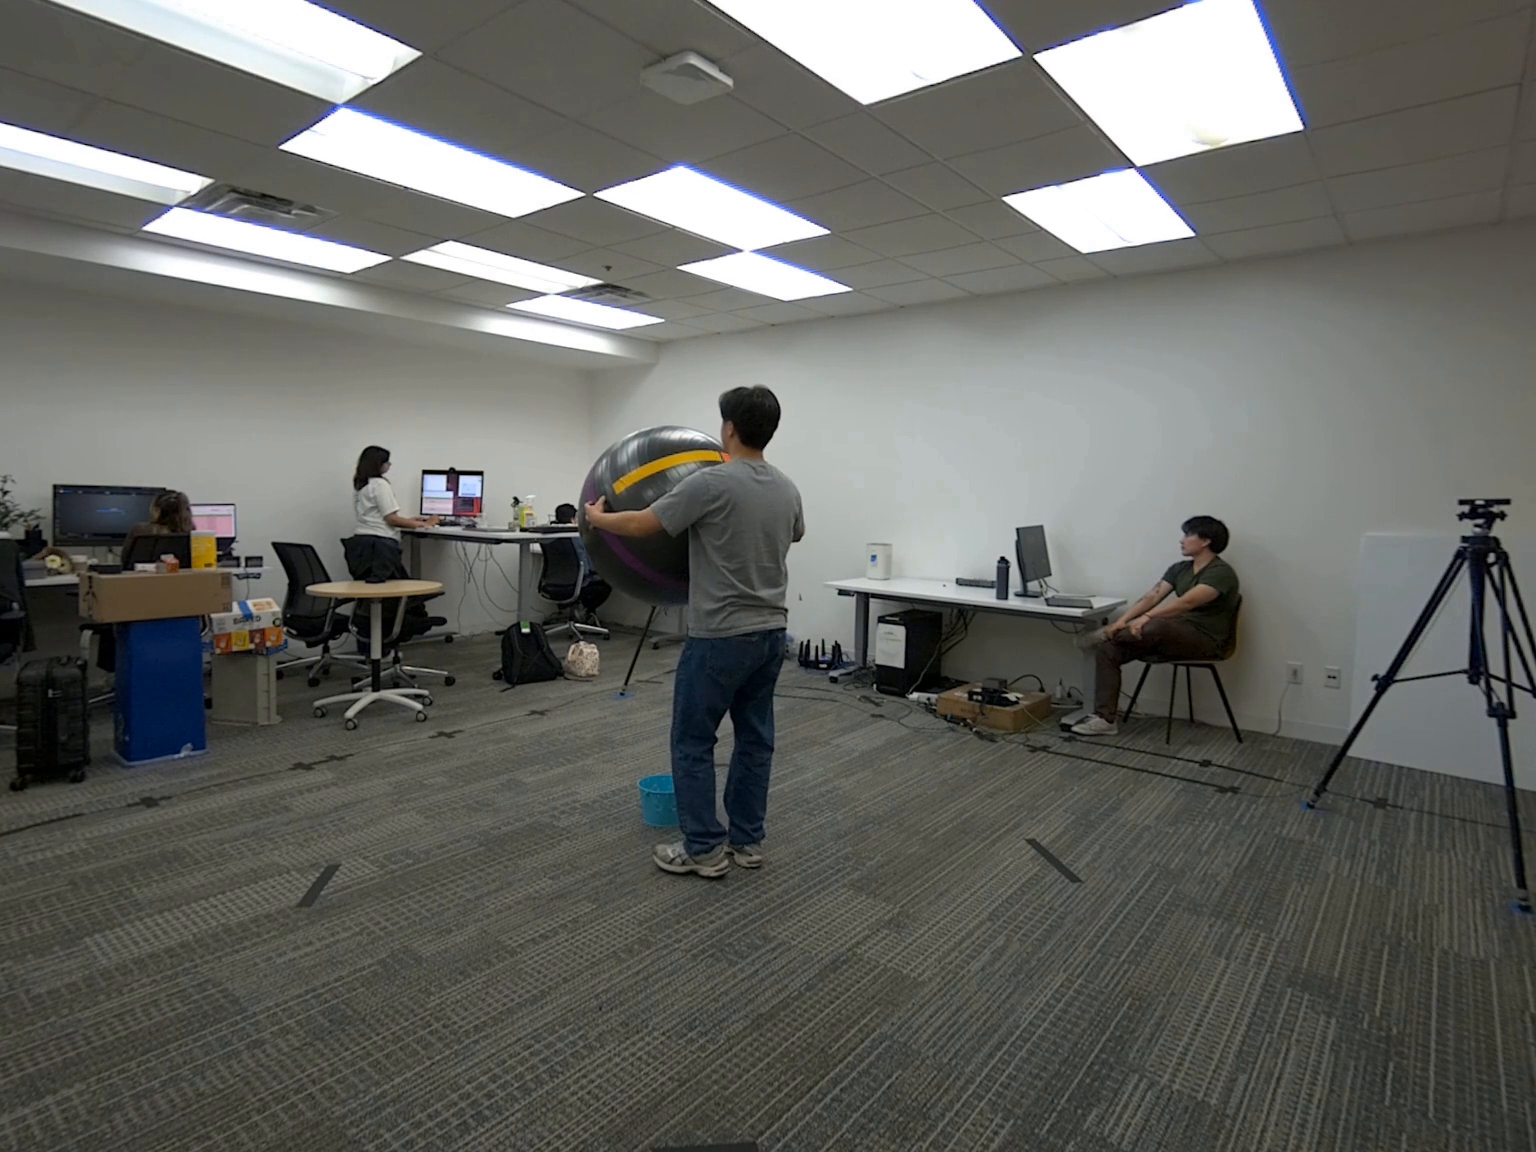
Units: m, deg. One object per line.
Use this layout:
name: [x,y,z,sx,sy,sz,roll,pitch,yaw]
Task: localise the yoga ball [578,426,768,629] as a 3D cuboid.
yoga ball: [-0.440,-0.250,3.588,0.757,0.756,0.761,1,4,-2]
